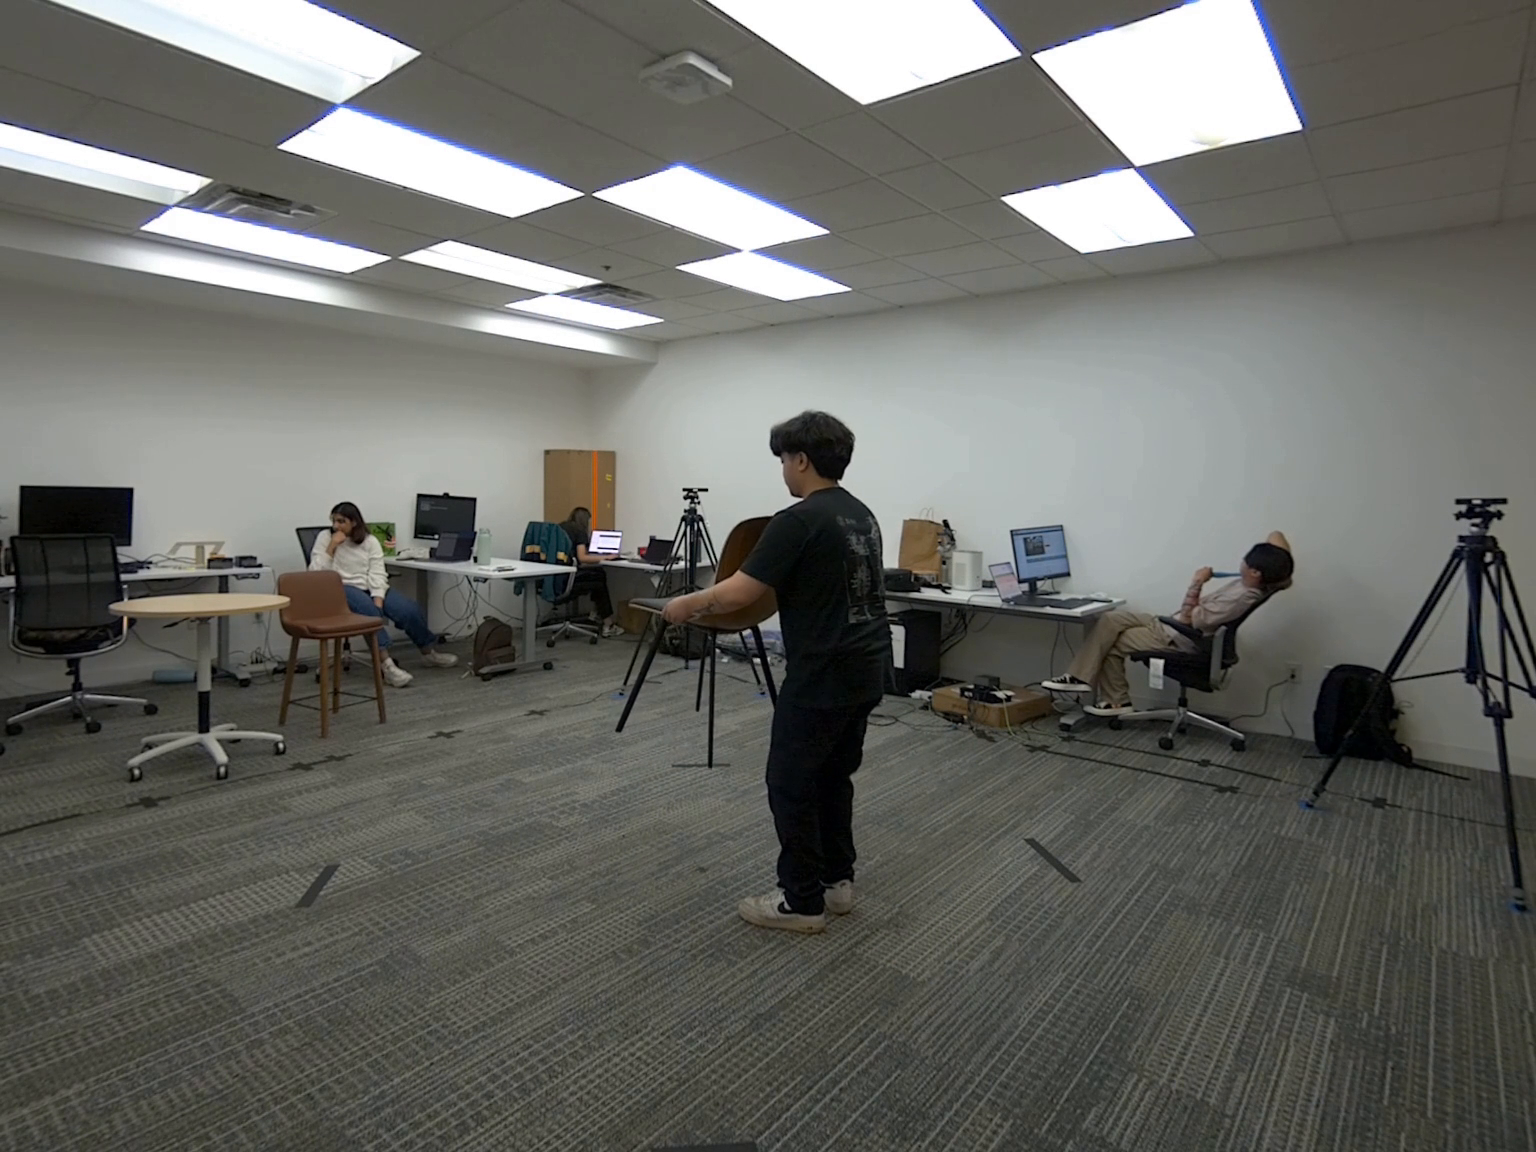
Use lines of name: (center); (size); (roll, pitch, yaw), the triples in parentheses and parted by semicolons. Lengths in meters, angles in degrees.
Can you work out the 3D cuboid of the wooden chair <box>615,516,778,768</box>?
wooden chair: (-0.217, 0.169, 3.080); (0.542, 0.871, 0.464); (14, 10, 36)
